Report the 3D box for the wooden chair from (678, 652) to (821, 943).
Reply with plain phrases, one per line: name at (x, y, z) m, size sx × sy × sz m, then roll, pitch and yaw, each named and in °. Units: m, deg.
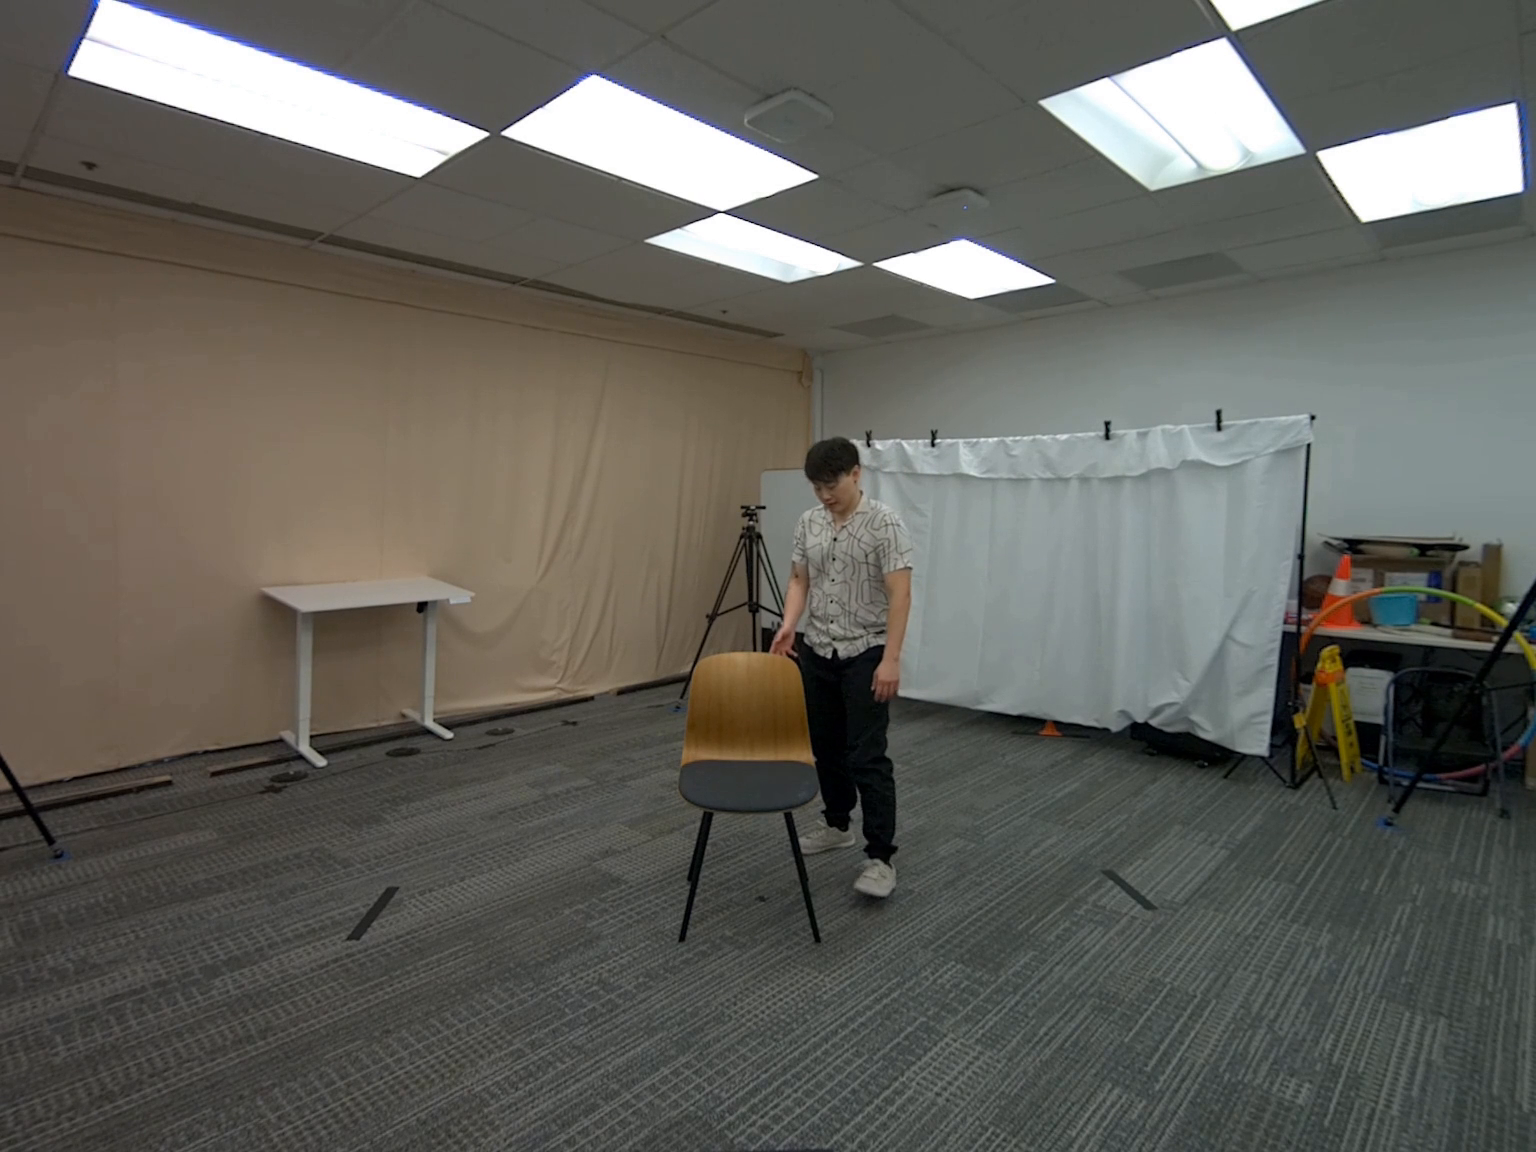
wooden chair at (-0.060, 0.726, 2.866) m, size 0.478 × 0.878 × 0.523 m, roll 0°, pitch -1°, yaw -1°
